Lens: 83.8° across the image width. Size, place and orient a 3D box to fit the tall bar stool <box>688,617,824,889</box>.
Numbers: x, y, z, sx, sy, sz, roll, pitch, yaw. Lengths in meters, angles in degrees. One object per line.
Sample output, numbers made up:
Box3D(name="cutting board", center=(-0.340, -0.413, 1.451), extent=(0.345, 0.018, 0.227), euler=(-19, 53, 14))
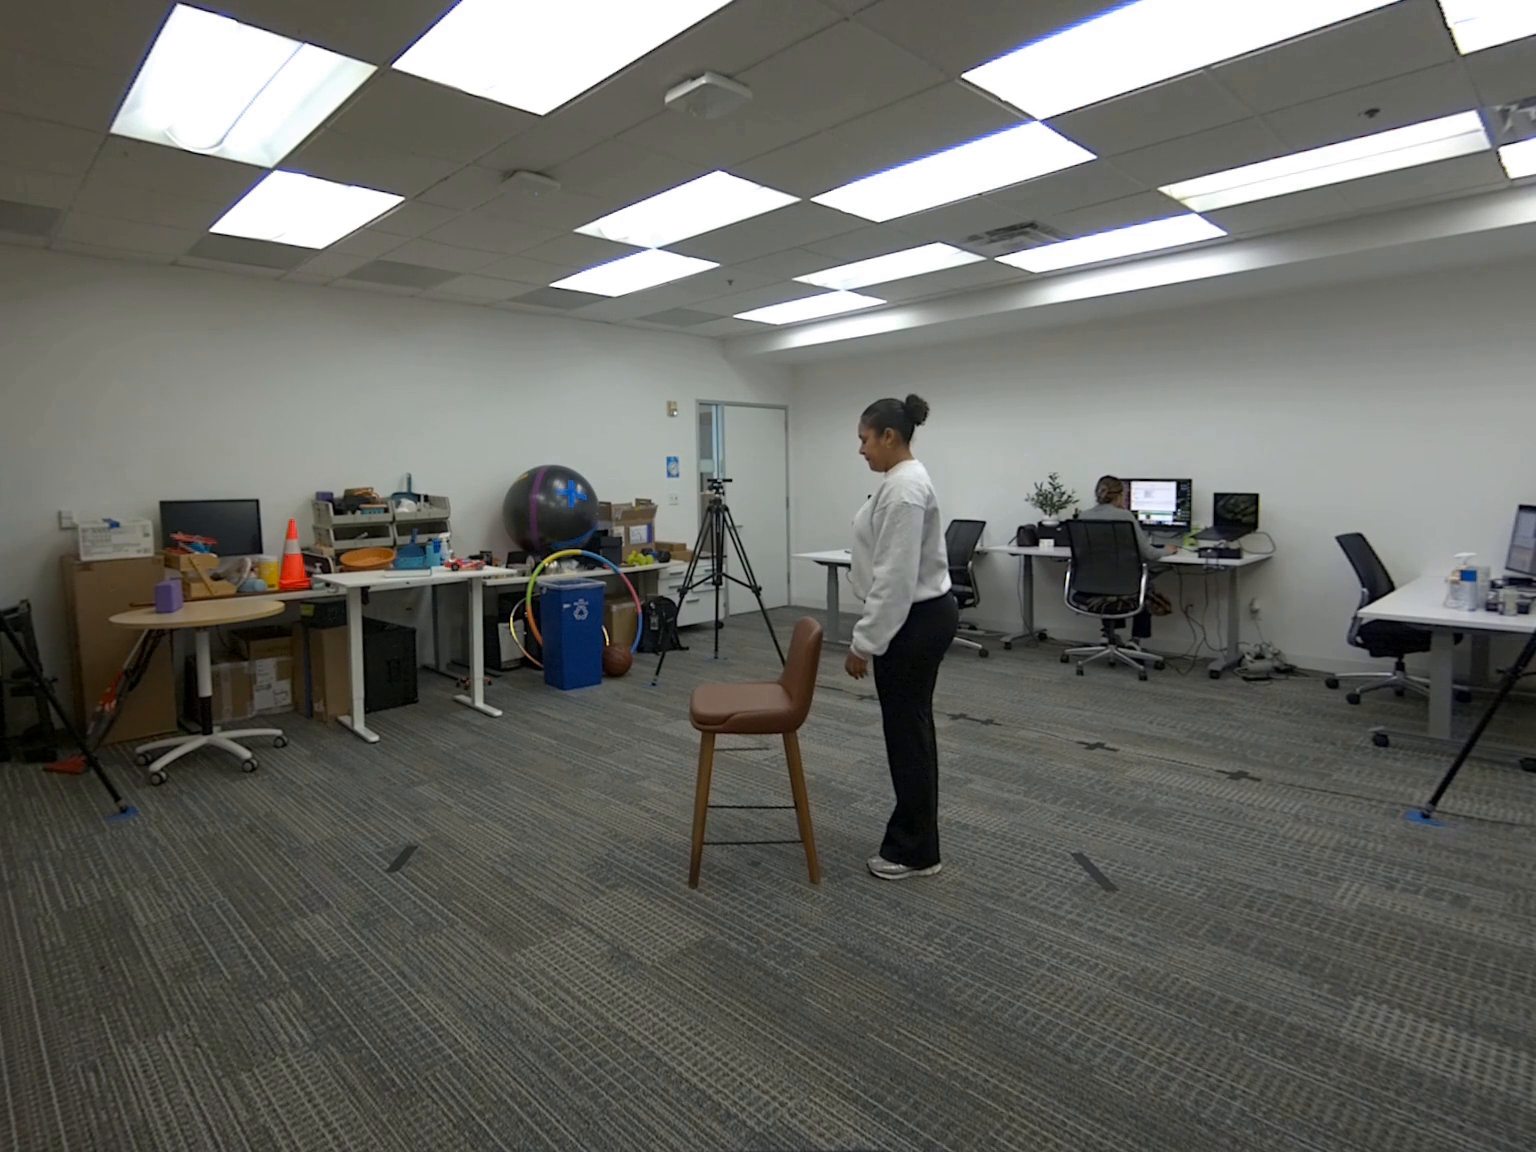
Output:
Box3D(name="tall bar stool", center=(-0.045, 0.612, 3.093), extent=(0.467, 0.887, 0.458), euler=(1, 4, -1))
